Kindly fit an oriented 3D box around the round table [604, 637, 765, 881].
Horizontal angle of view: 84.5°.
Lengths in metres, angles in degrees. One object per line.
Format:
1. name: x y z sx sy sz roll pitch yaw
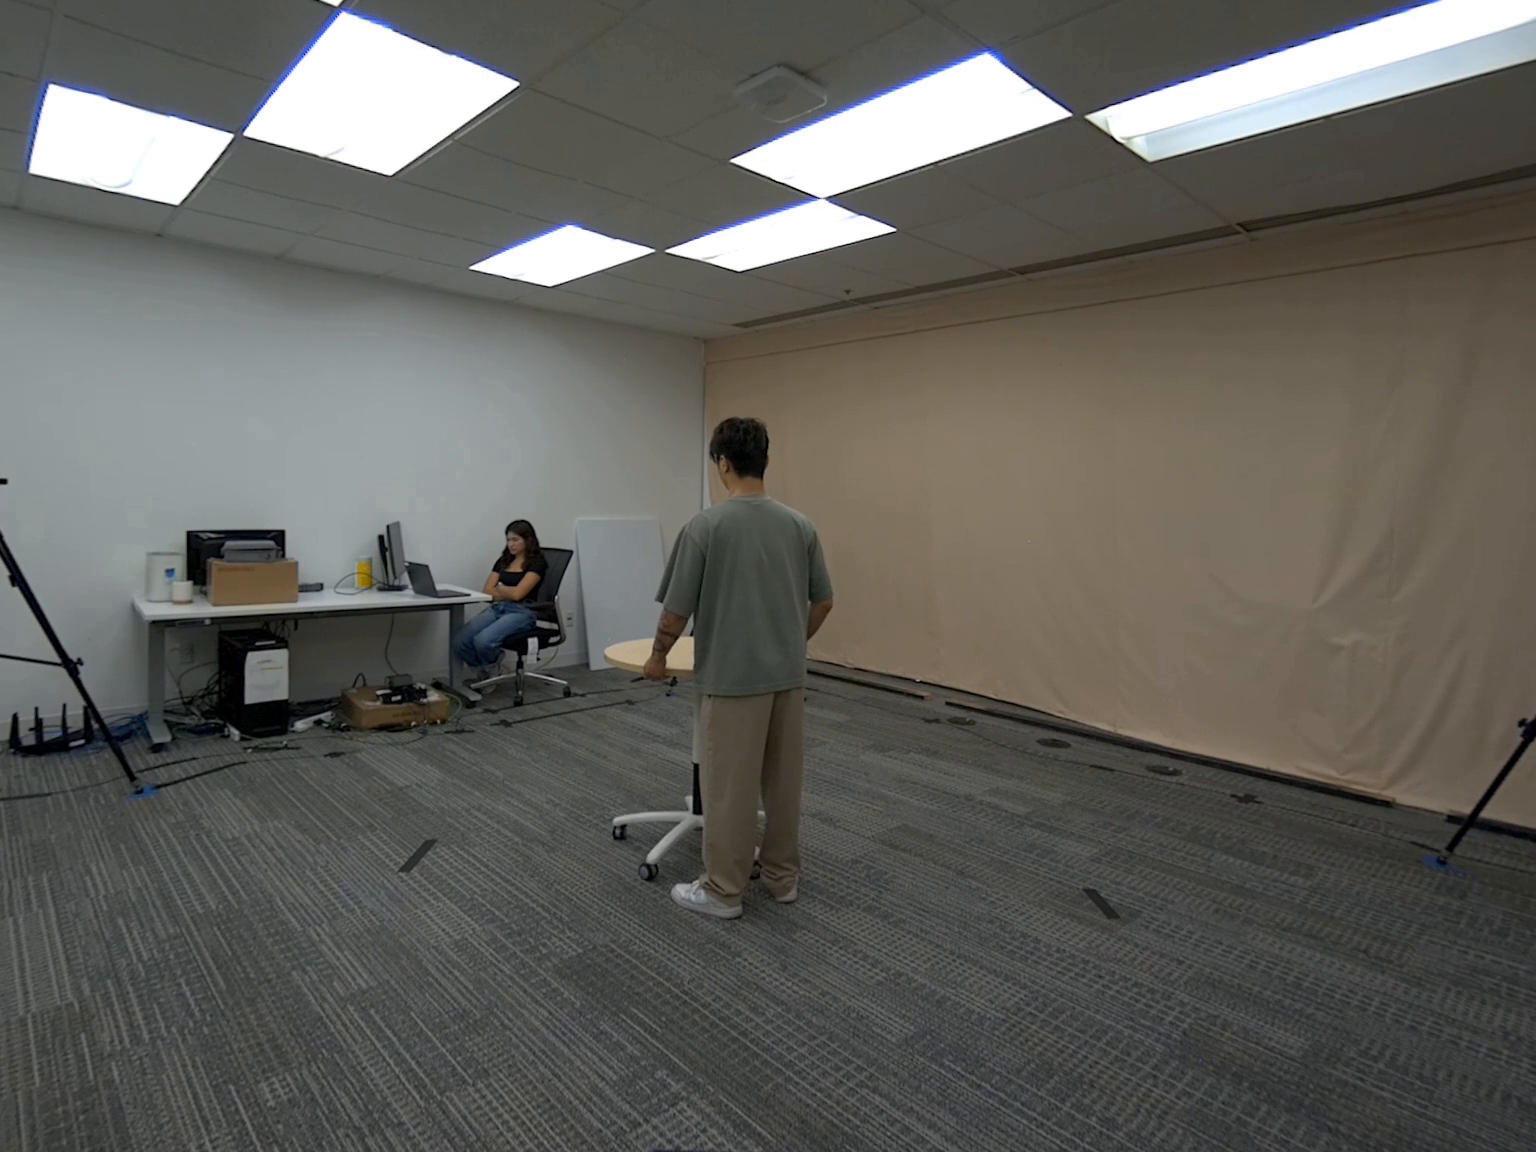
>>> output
1. round table: -0.269 0.691 3.322 0.784 0.784 0.788 1 4 -1
